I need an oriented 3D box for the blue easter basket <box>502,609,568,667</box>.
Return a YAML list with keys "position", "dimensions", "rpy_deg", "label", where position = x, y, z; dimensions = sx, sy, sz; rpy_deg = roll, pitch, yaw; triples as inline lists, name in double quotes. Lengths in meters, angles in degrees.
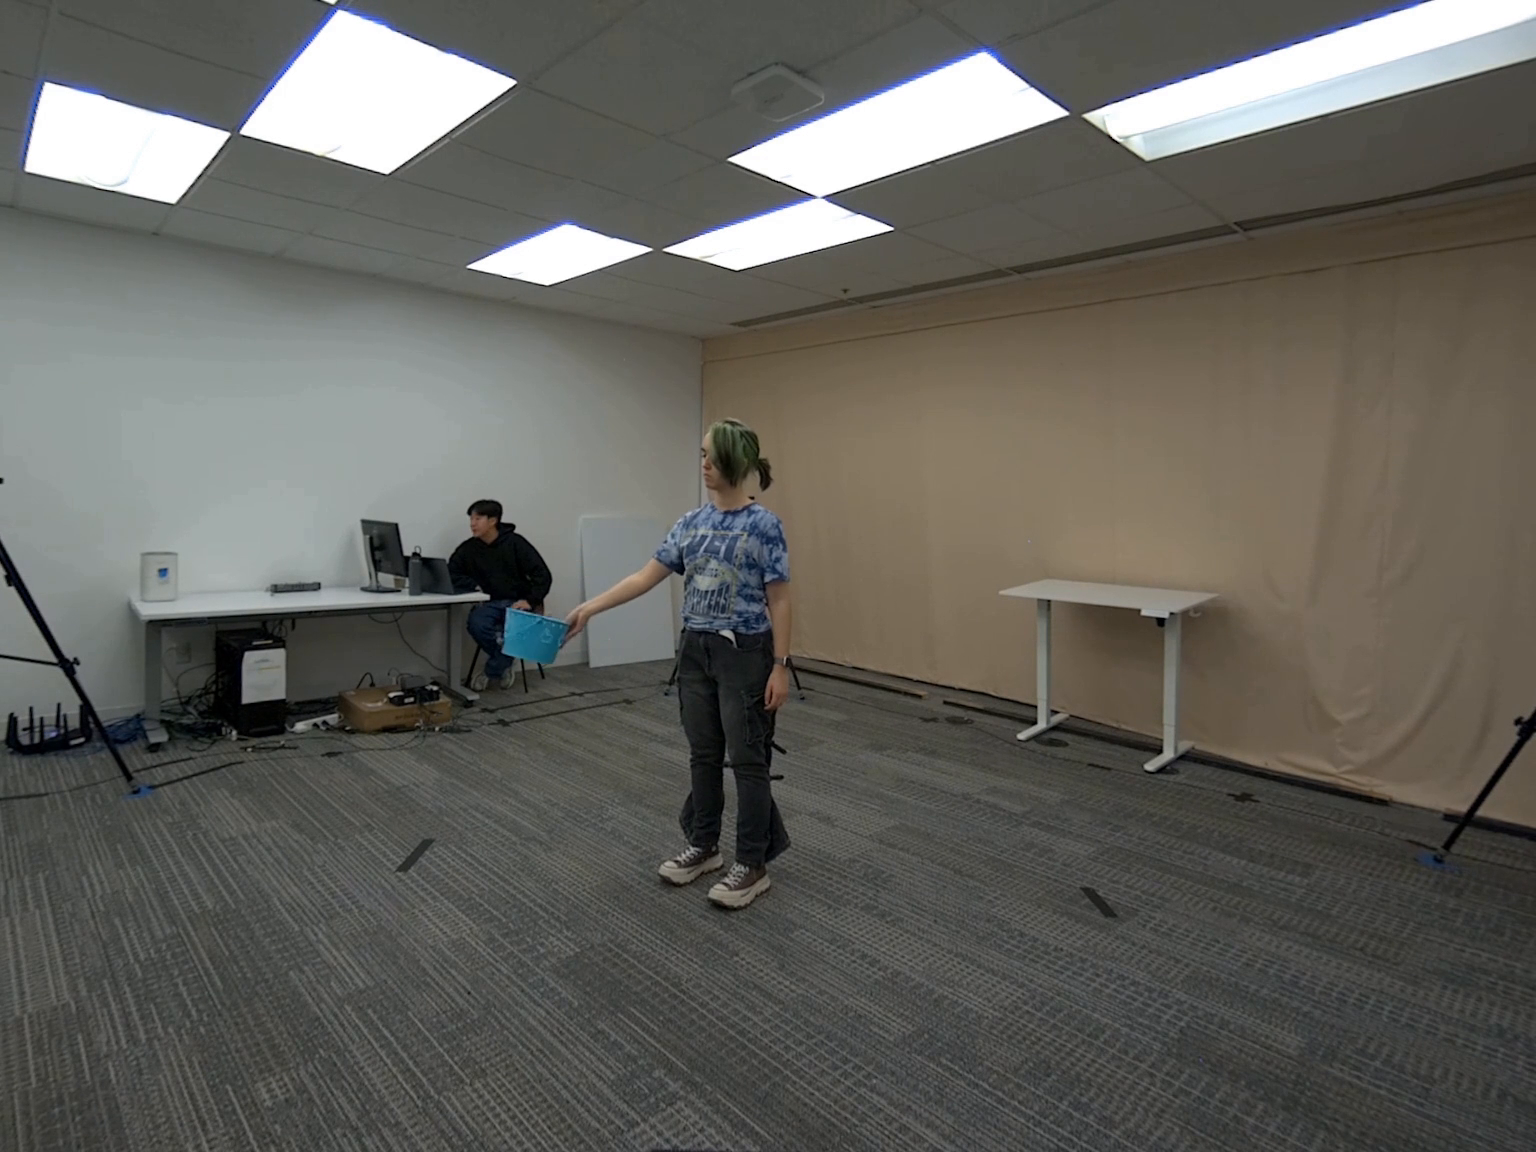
- position: [-0.822, 0.208, 2.945]
  dimensions: [0.244, 0.156, 0.242]
  rpy_deg: [15, -7, 1]
  label: "blue easter basket"
